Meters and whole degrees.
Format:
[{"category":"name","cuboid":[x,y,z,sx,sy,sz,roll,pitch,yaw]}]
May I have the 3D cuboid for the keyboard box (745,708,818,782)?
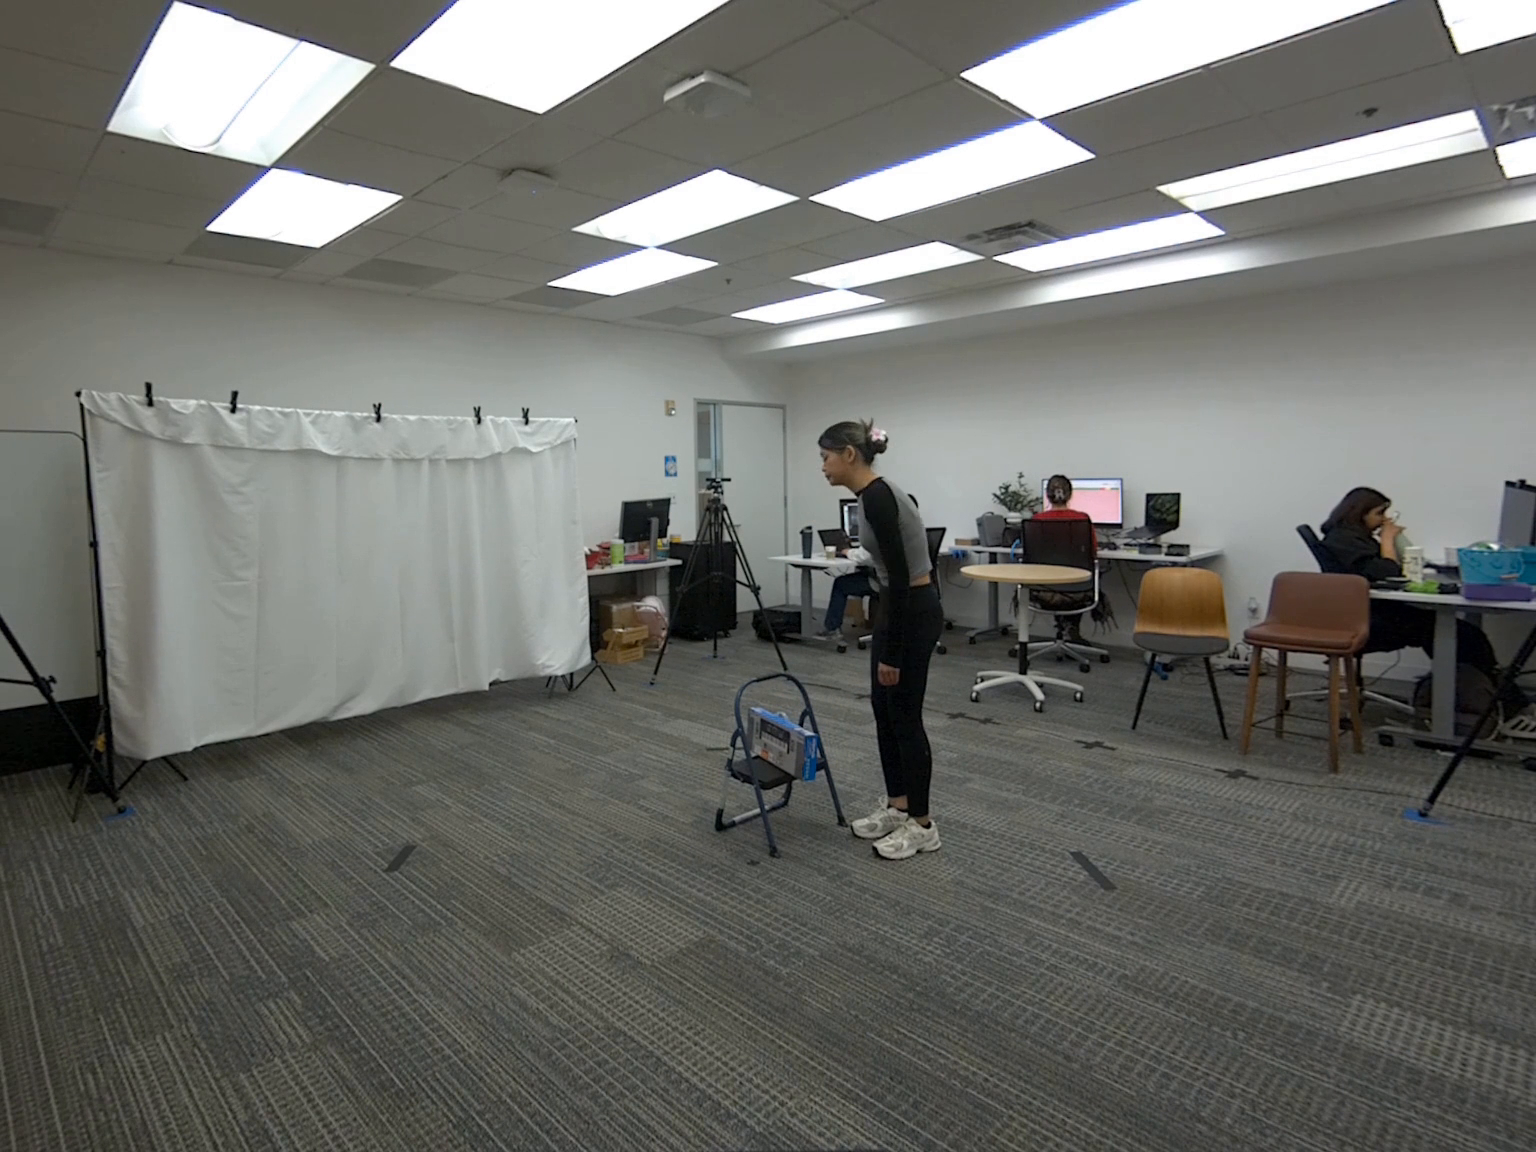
[{"category":"keyboard box","cuboid":[0.048,0.658,3.397,0.057,0.175,0.449,4,4,-29]}]
